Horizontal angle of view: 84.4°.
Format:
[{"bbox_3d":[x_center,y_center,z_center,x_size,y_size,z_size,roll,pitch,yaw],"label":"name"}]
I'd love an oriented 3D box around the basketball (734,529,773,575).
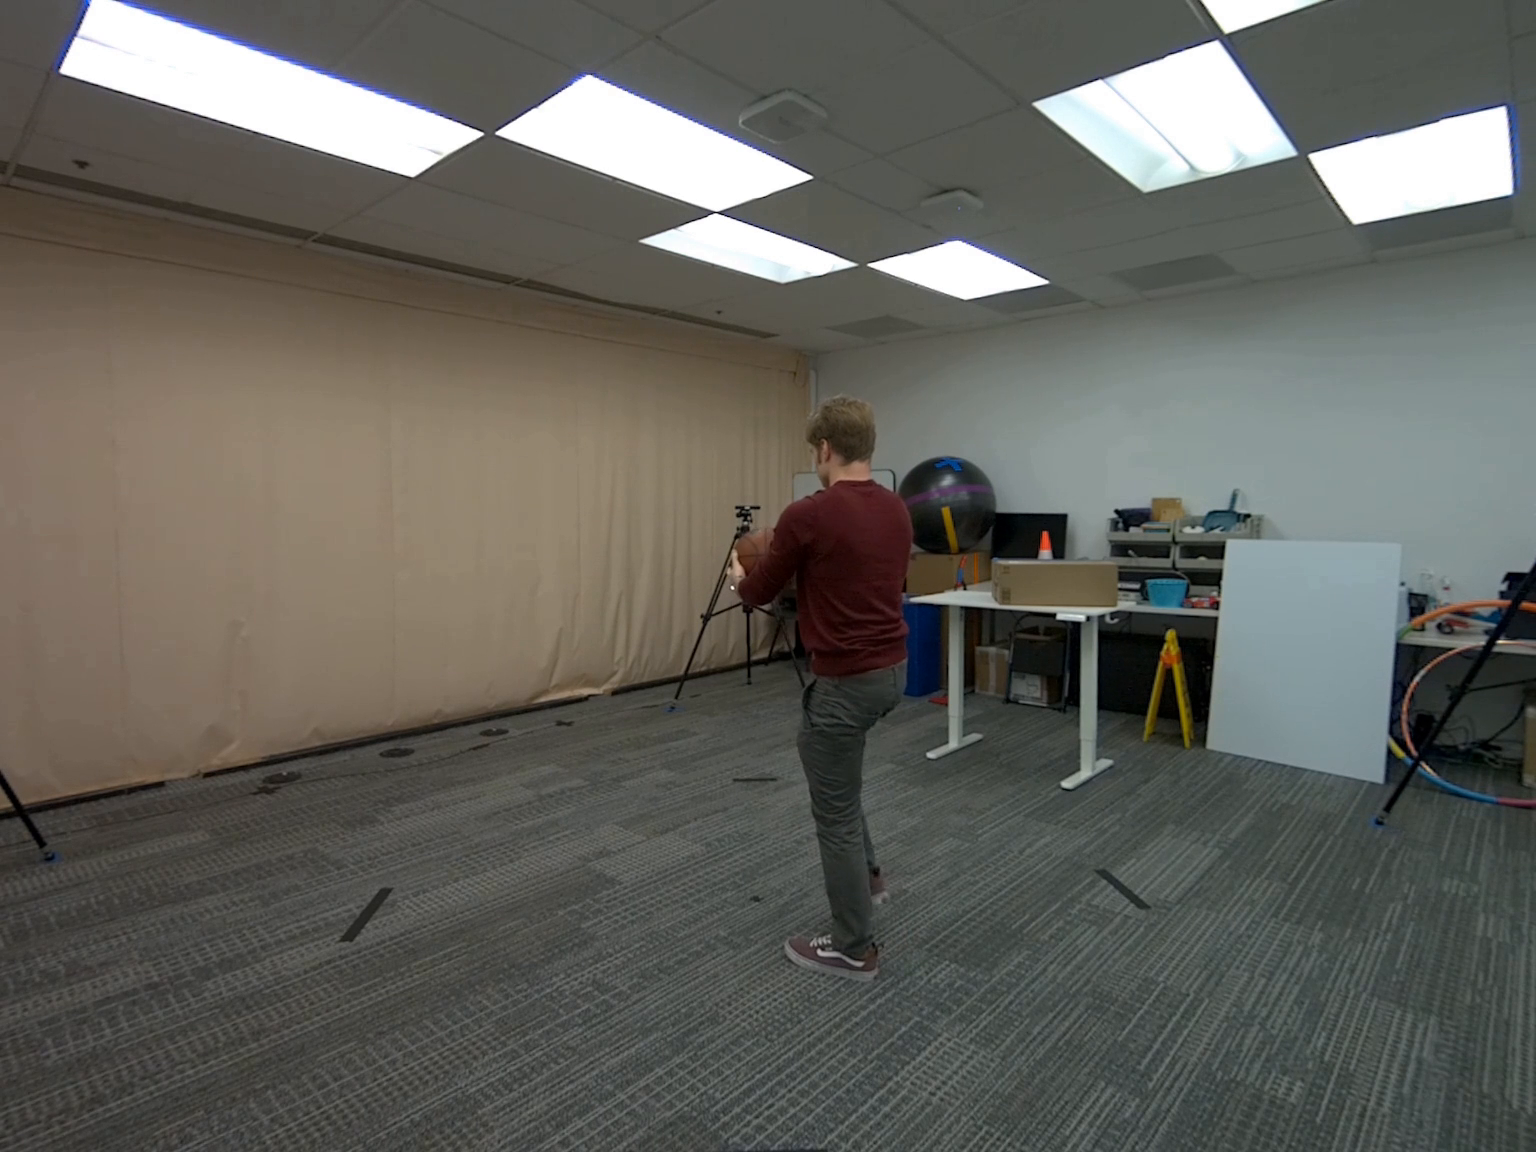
[{"bbox_3d":[-0.003,-0.057,2.882,0.236,0.235,0.237,0,4,-2],"label":"basketball"}]
